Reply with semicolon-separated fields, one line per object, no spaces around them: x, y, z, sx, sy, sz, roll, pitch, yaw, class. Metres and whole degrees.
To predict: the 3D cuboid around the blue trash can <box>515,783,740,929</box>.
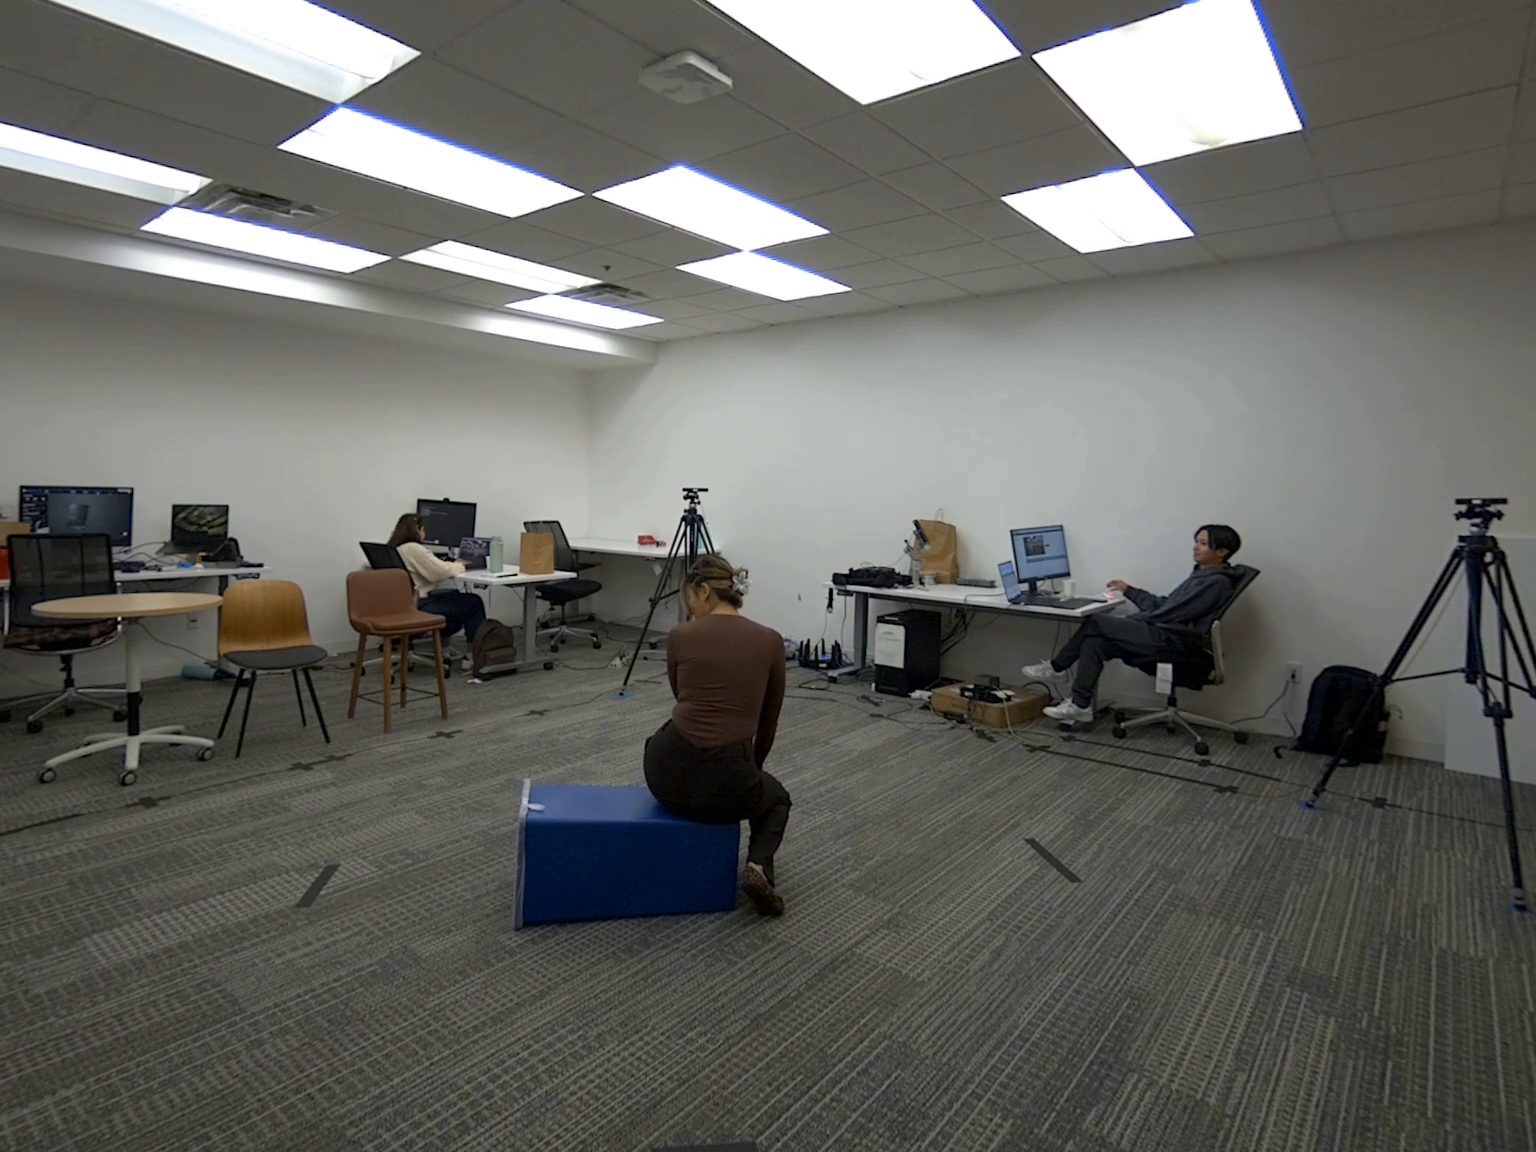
-0.499;0.920;2.884;0.704;0.377;0.380;3;3;-12;blue trash can
